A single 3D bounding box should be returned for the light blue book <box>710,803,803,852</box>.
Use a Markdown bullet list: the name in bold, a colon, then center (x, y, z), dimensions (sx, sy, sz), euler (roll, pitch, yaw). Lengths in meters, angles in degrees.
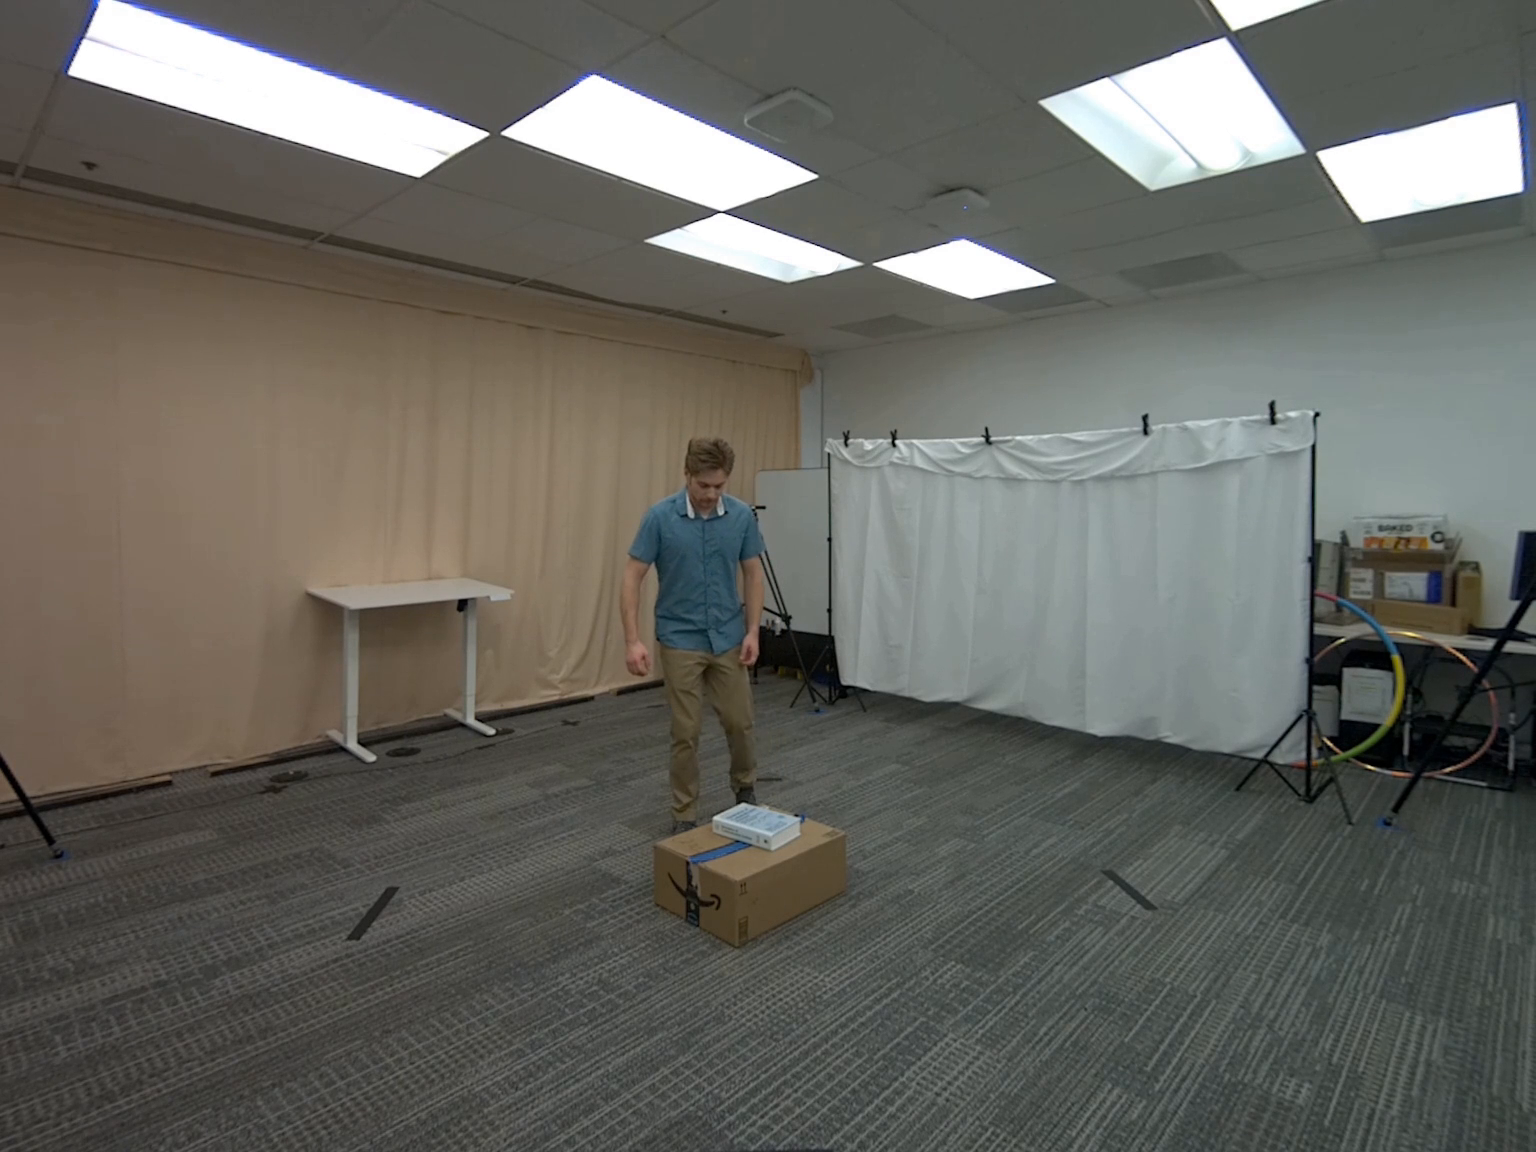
- **light blue book**: center (-0.036, 0.896, 3.034), dimensions (0.269, 0.059, 0.186), euler (4, 7, 37)
